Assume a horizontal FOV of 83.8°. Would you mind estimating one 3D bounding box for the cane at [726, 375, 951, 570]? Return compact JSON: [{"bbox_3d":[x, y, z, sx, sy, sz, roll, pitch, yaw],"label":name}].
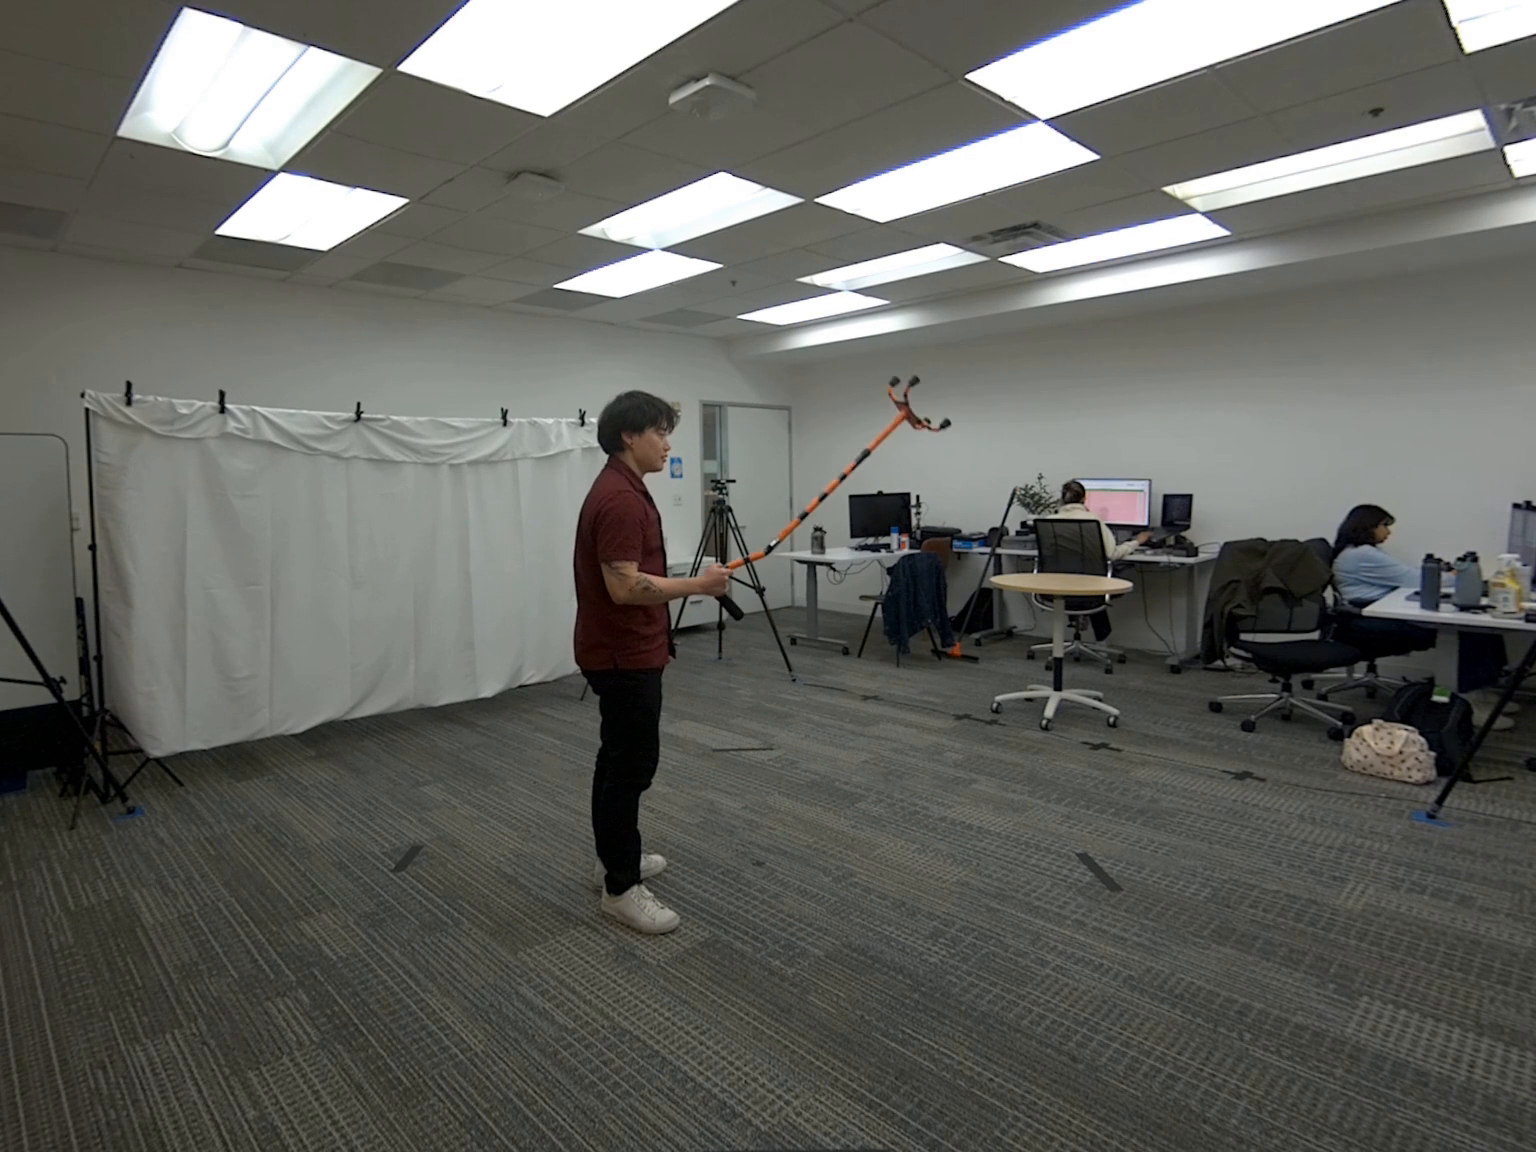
[{"bbox_3d":[0.168,-0.231,2.662,0.907,0.201,0.155,-45,21,-6],"label":"cane"}]
